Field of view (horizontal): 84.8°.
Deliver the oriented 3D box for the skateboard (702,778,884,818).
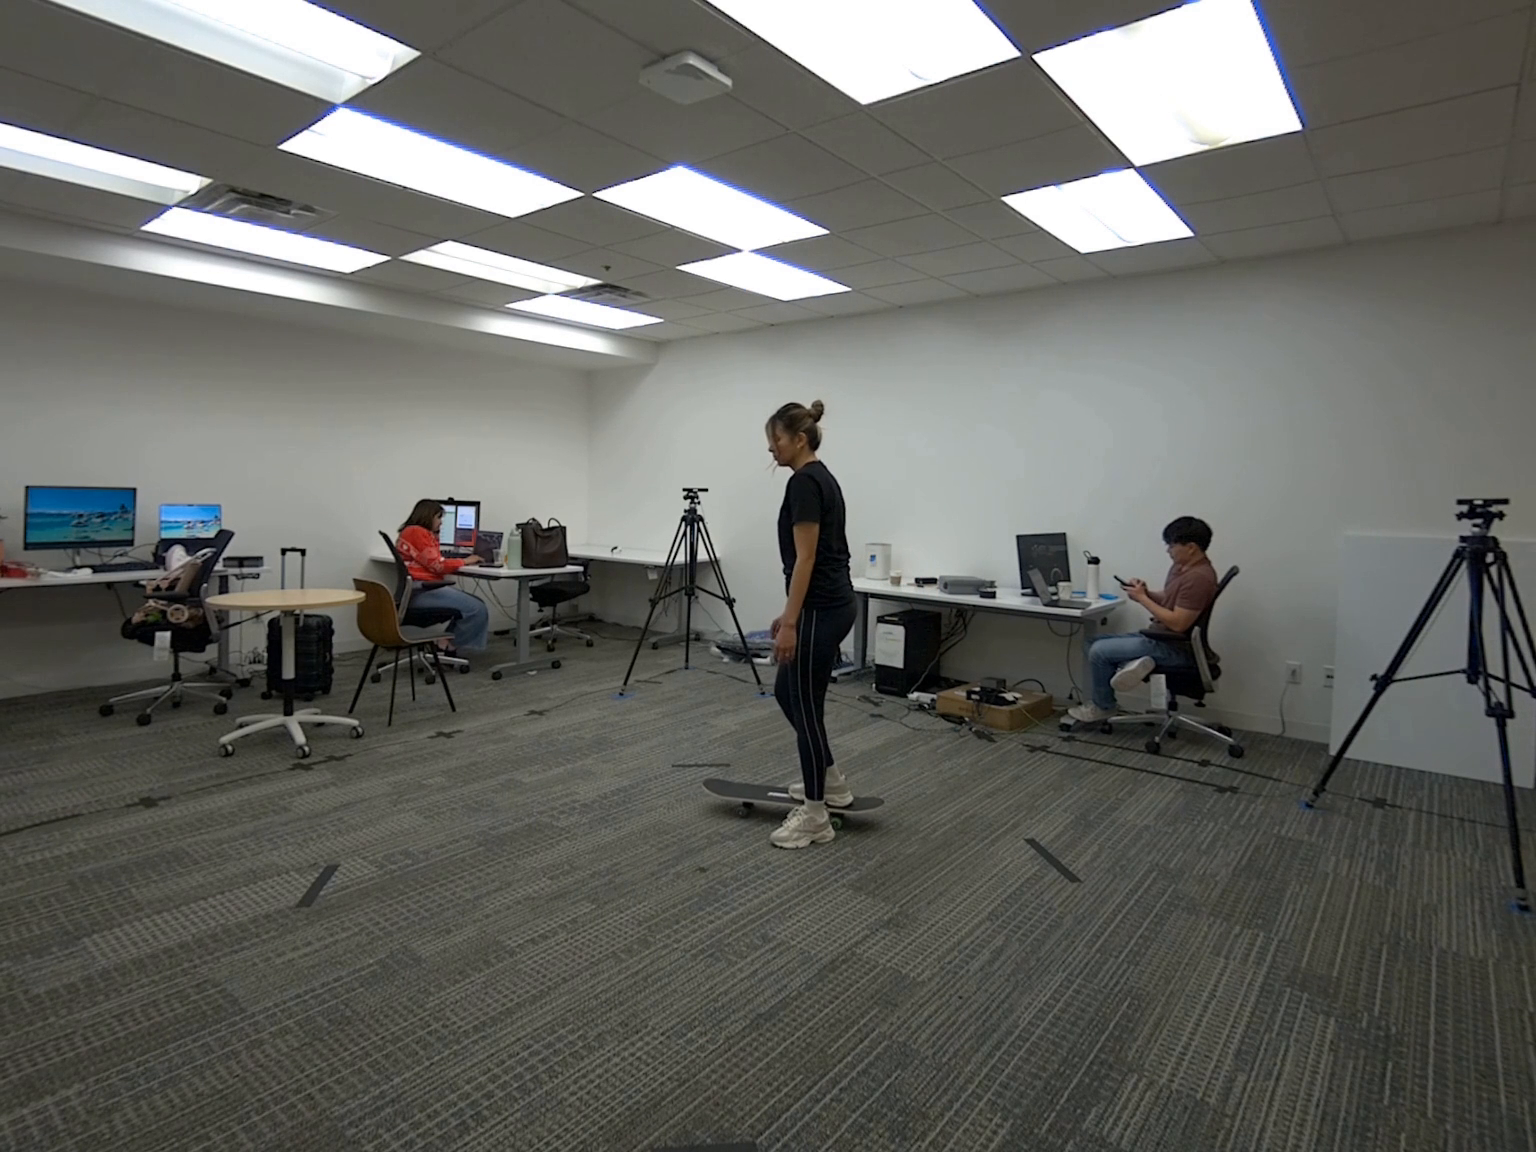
[{"bbox_3d":[0.076,0.971,3.636,0.797,0.110,0.191,3,4,13],"label":"skateboard"}]
